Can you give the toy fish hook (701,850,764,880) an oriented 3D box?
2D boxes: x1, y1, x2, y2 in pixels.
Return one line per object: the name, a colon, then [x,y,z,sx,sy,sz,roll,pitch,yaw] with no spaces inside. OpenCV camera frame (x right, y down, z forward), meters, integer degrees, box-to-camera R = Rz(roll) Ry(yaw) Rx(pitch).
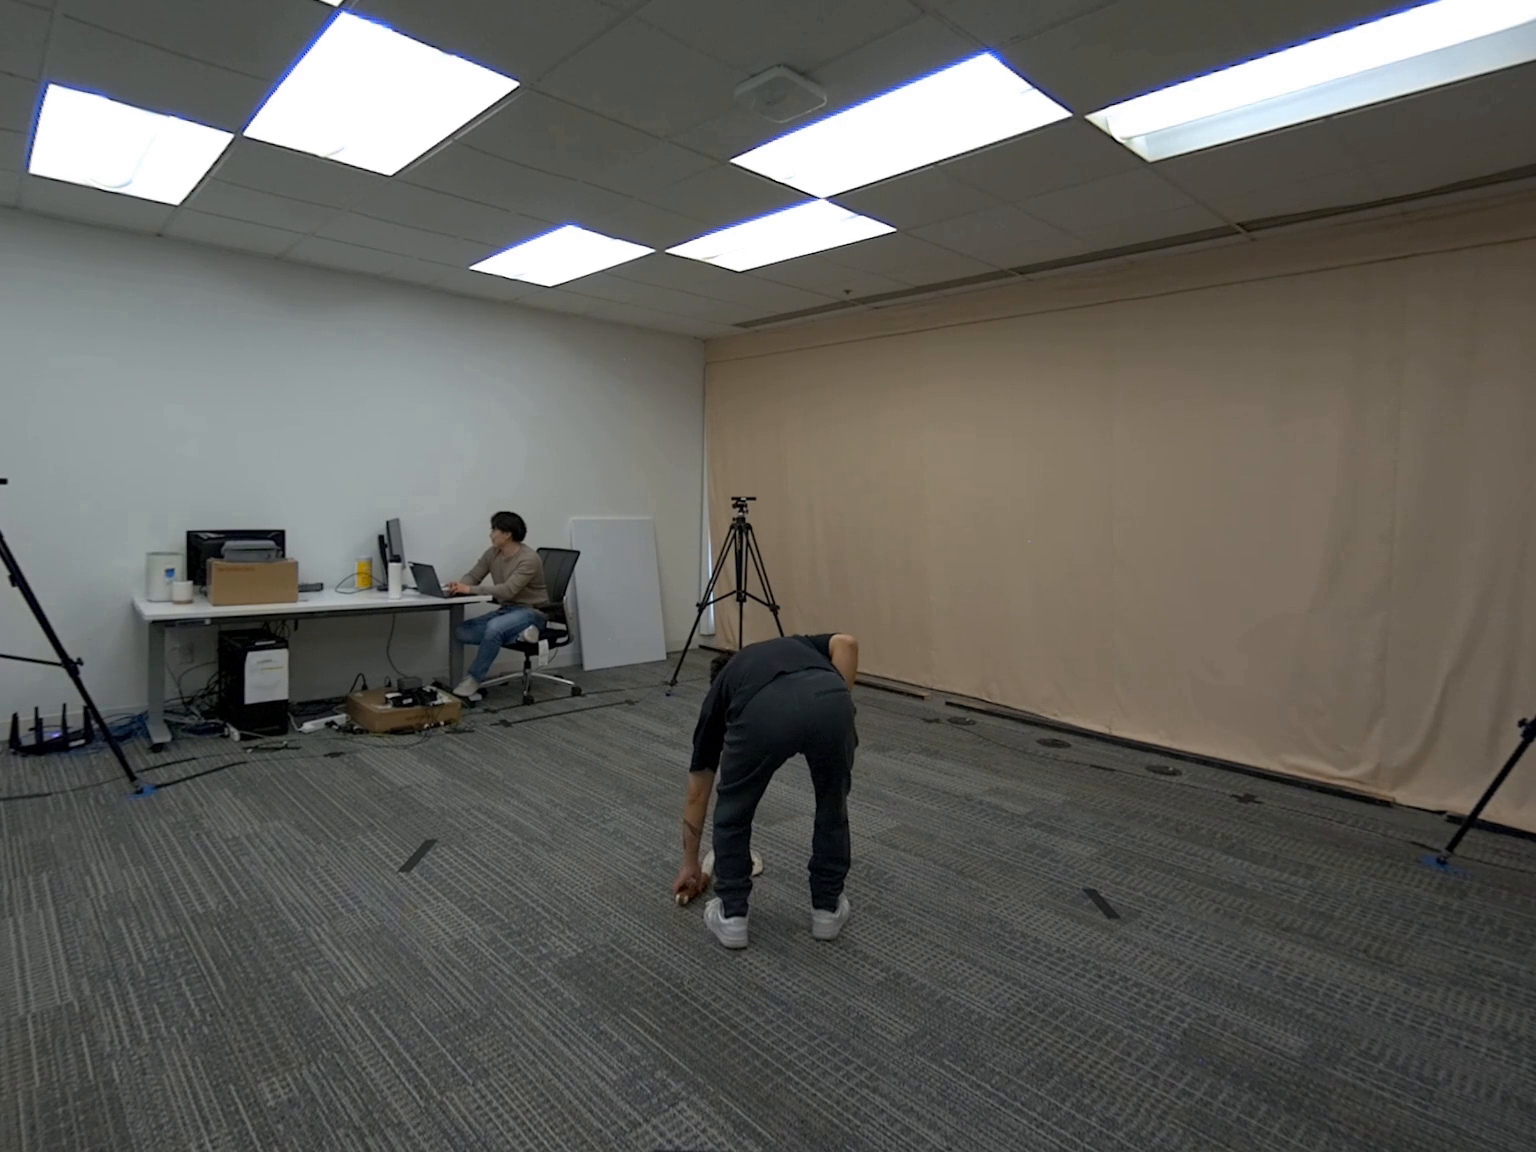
toy fish hook: [-0.169,1.090,3.059,0.228,0.048,0.500,2,6,19]
